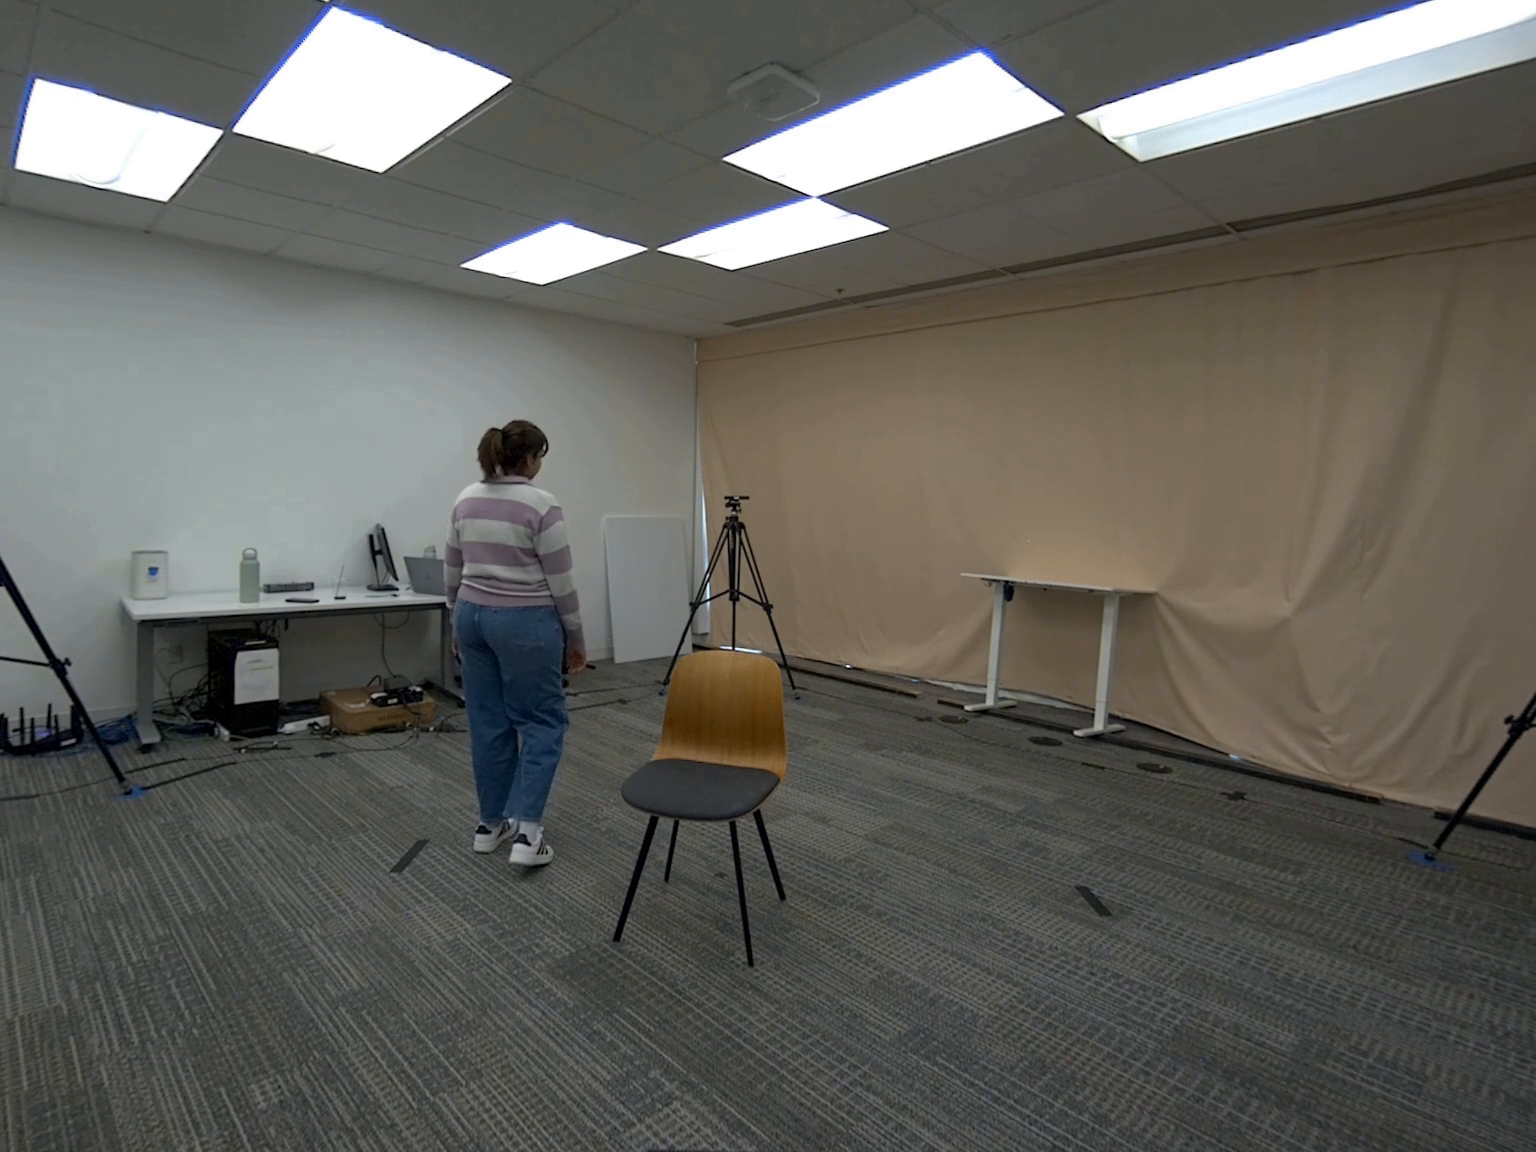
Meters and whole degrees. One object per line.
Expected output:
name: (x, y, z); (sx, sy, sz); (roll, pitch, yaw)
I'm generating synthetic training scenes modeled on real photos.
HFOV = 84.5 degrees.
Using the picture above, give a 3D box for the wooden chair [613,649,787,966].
wooden chair: (-0.205, 0.710, 2.732); (0.484, 0.877, 0.516); (2, 0, 16)
